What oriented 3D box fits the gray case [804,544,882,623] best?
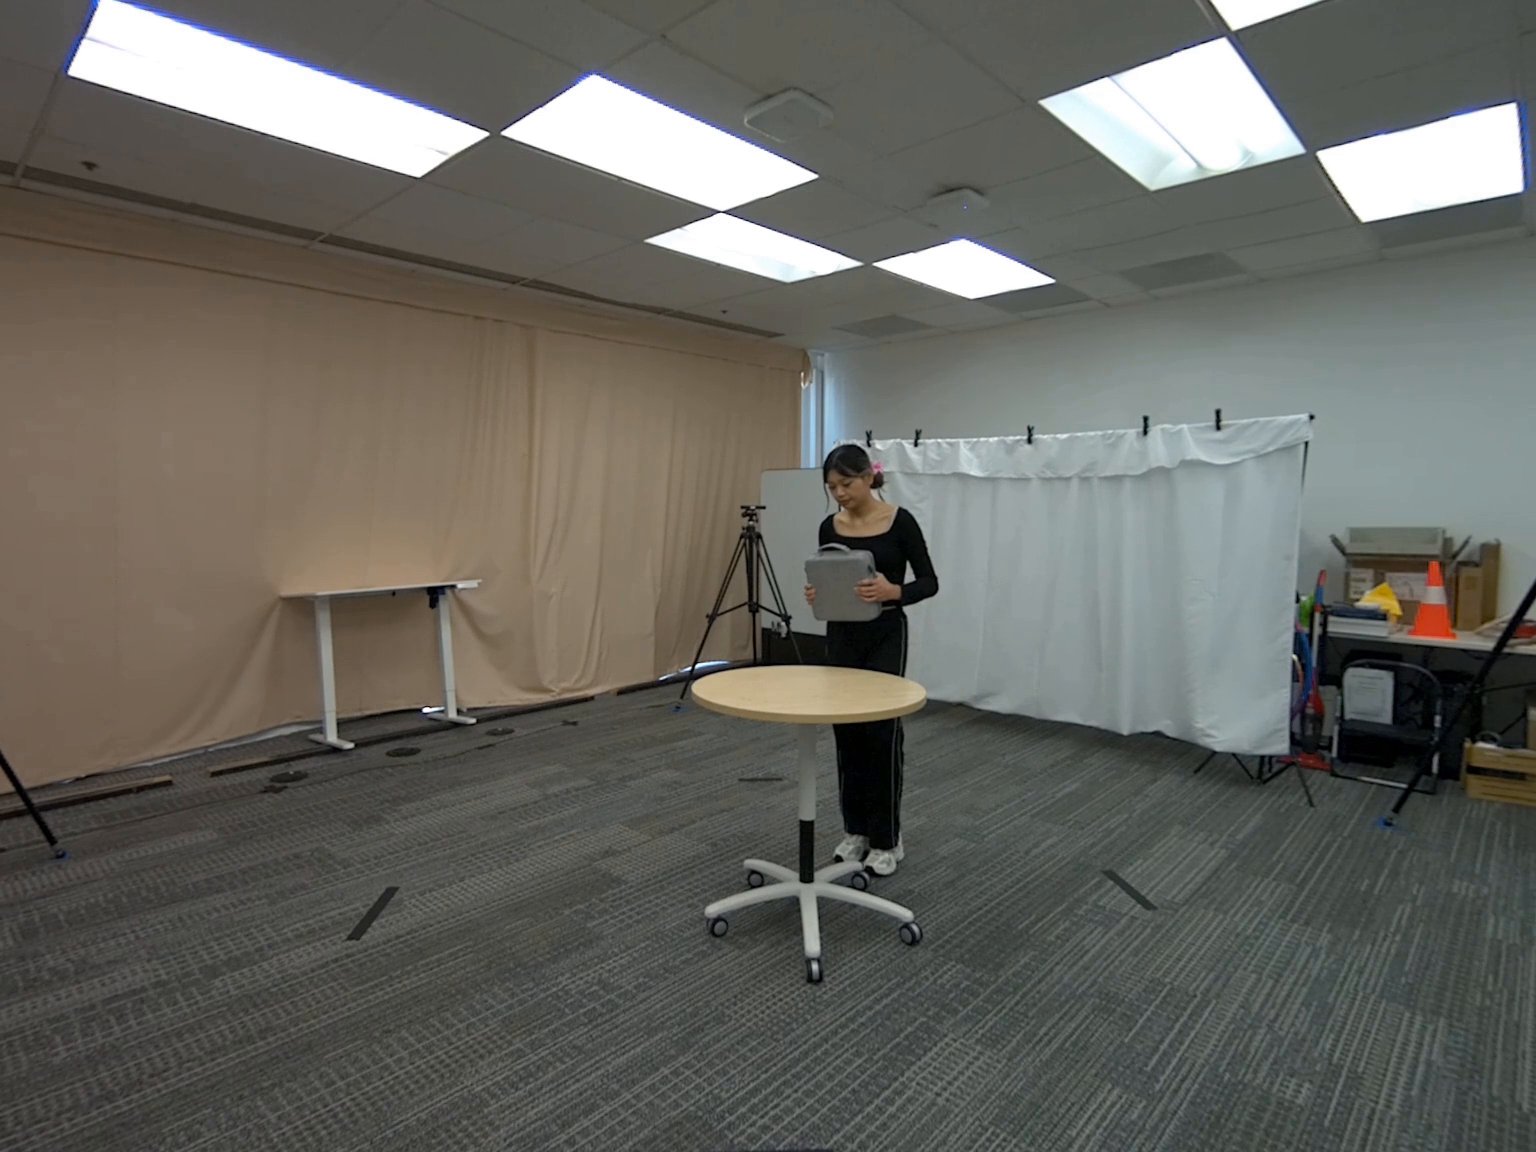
[{"bbox_3d":[0.280,0.035,3.113,0.264,0.258,0.102,-4,13,34],"label":"gray case"}]
